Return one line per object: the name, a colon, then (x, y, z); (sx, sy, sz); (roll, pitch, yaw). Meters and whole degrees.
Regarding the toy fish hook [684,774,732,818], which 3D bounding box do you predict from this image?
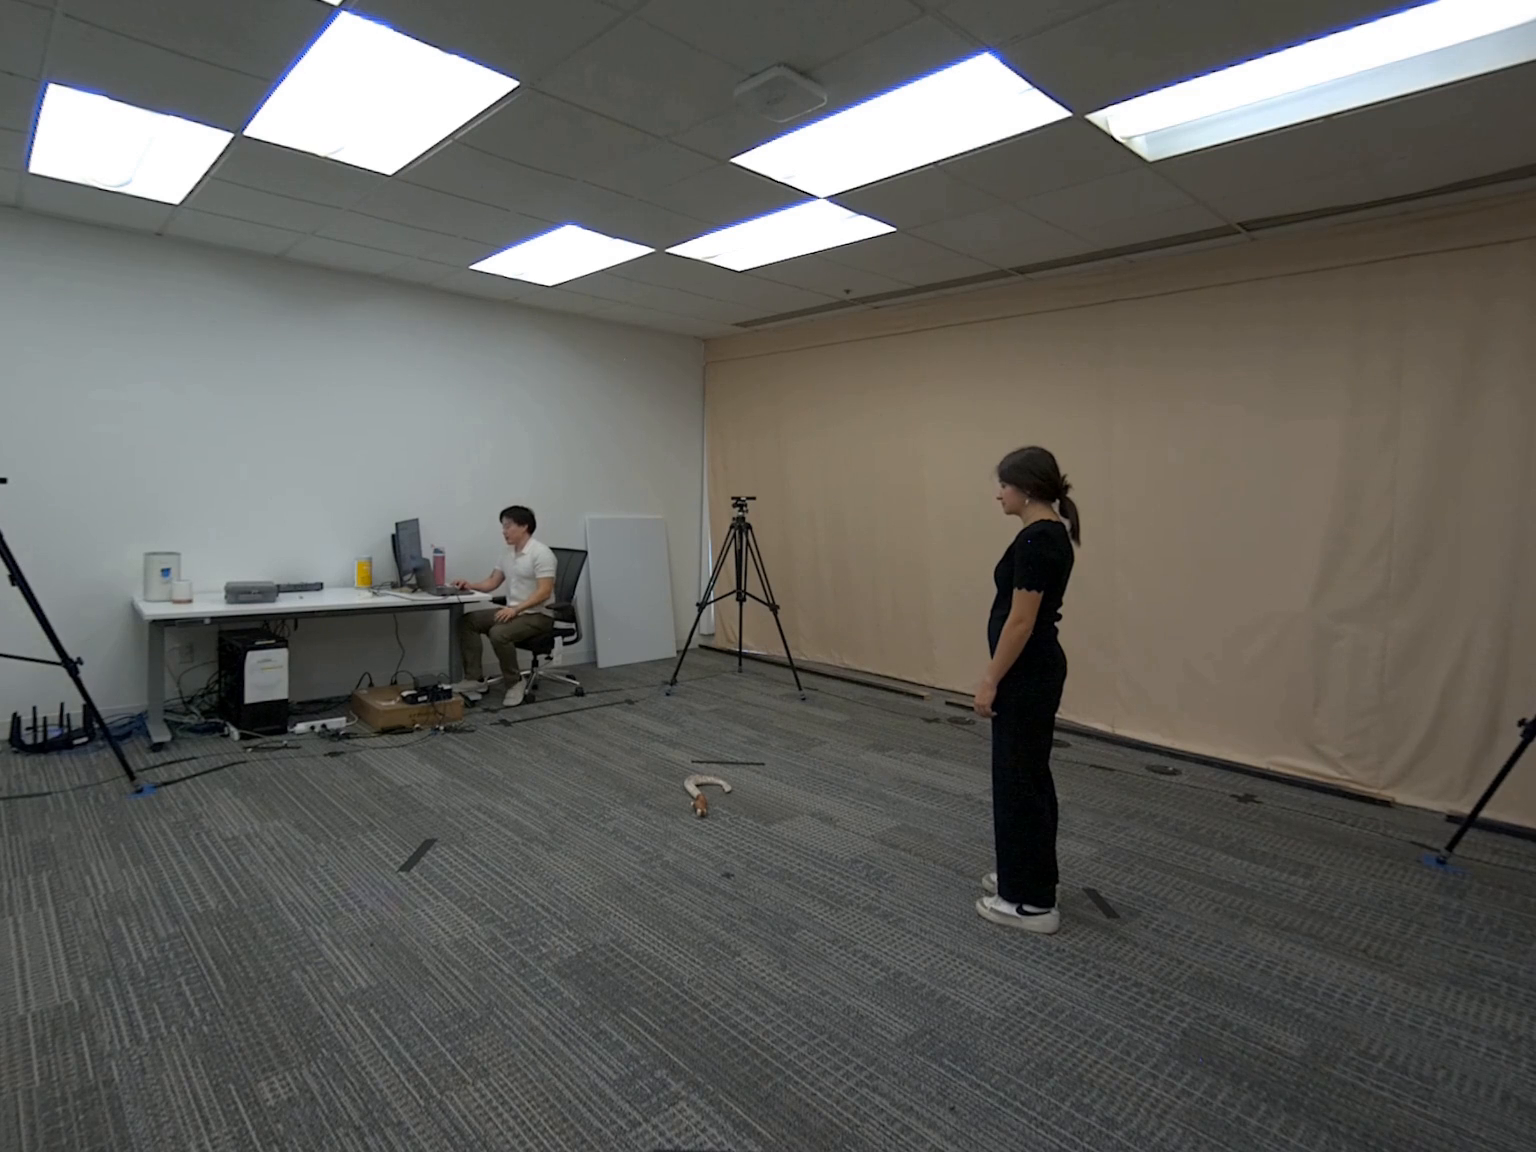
toy fish hook: (-0.280, 1.009, 3.899); (0.223, 0.048, 0.511); (0, 5, -8)
